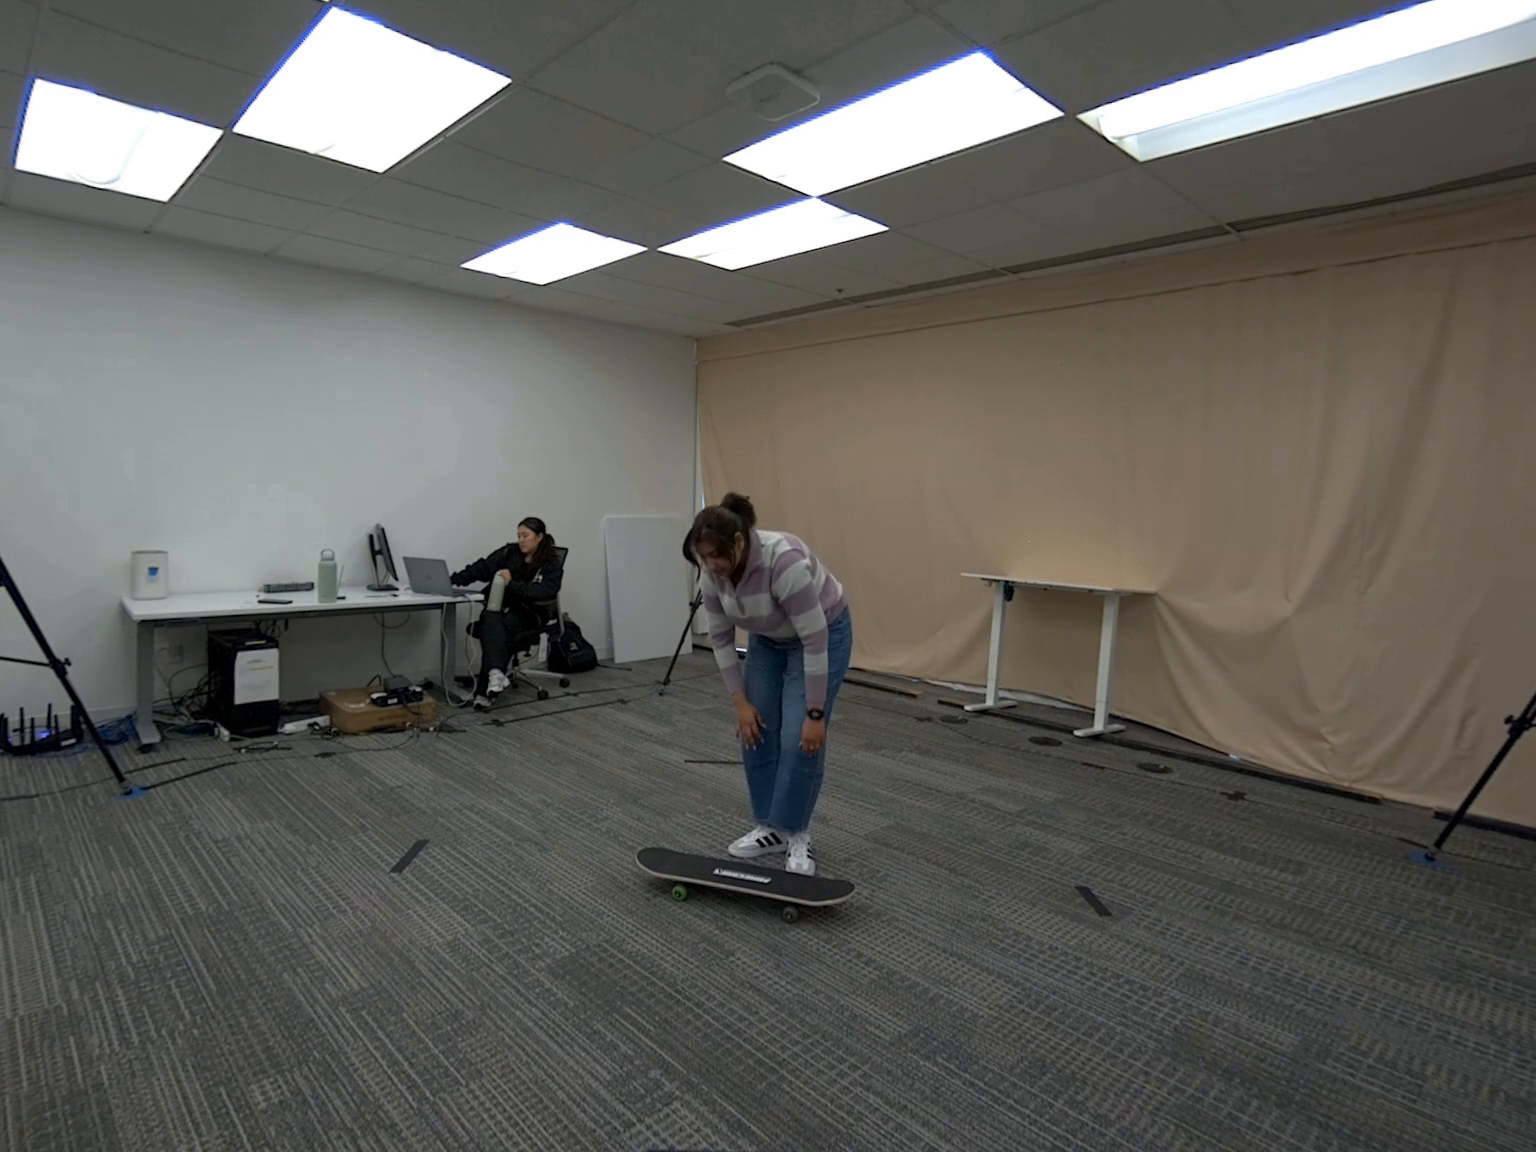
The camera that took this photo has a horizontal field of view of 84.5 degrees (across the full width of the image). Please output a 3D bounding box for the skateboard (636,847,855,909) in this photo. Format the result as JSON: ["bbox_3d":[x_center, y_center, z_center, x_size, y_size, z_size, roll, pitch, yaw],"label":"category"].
[{"bbox_3d":[-0.100,1.065,2.903,0.797,0.110,0.191,3,5,19],"label":"skateboard"}]
